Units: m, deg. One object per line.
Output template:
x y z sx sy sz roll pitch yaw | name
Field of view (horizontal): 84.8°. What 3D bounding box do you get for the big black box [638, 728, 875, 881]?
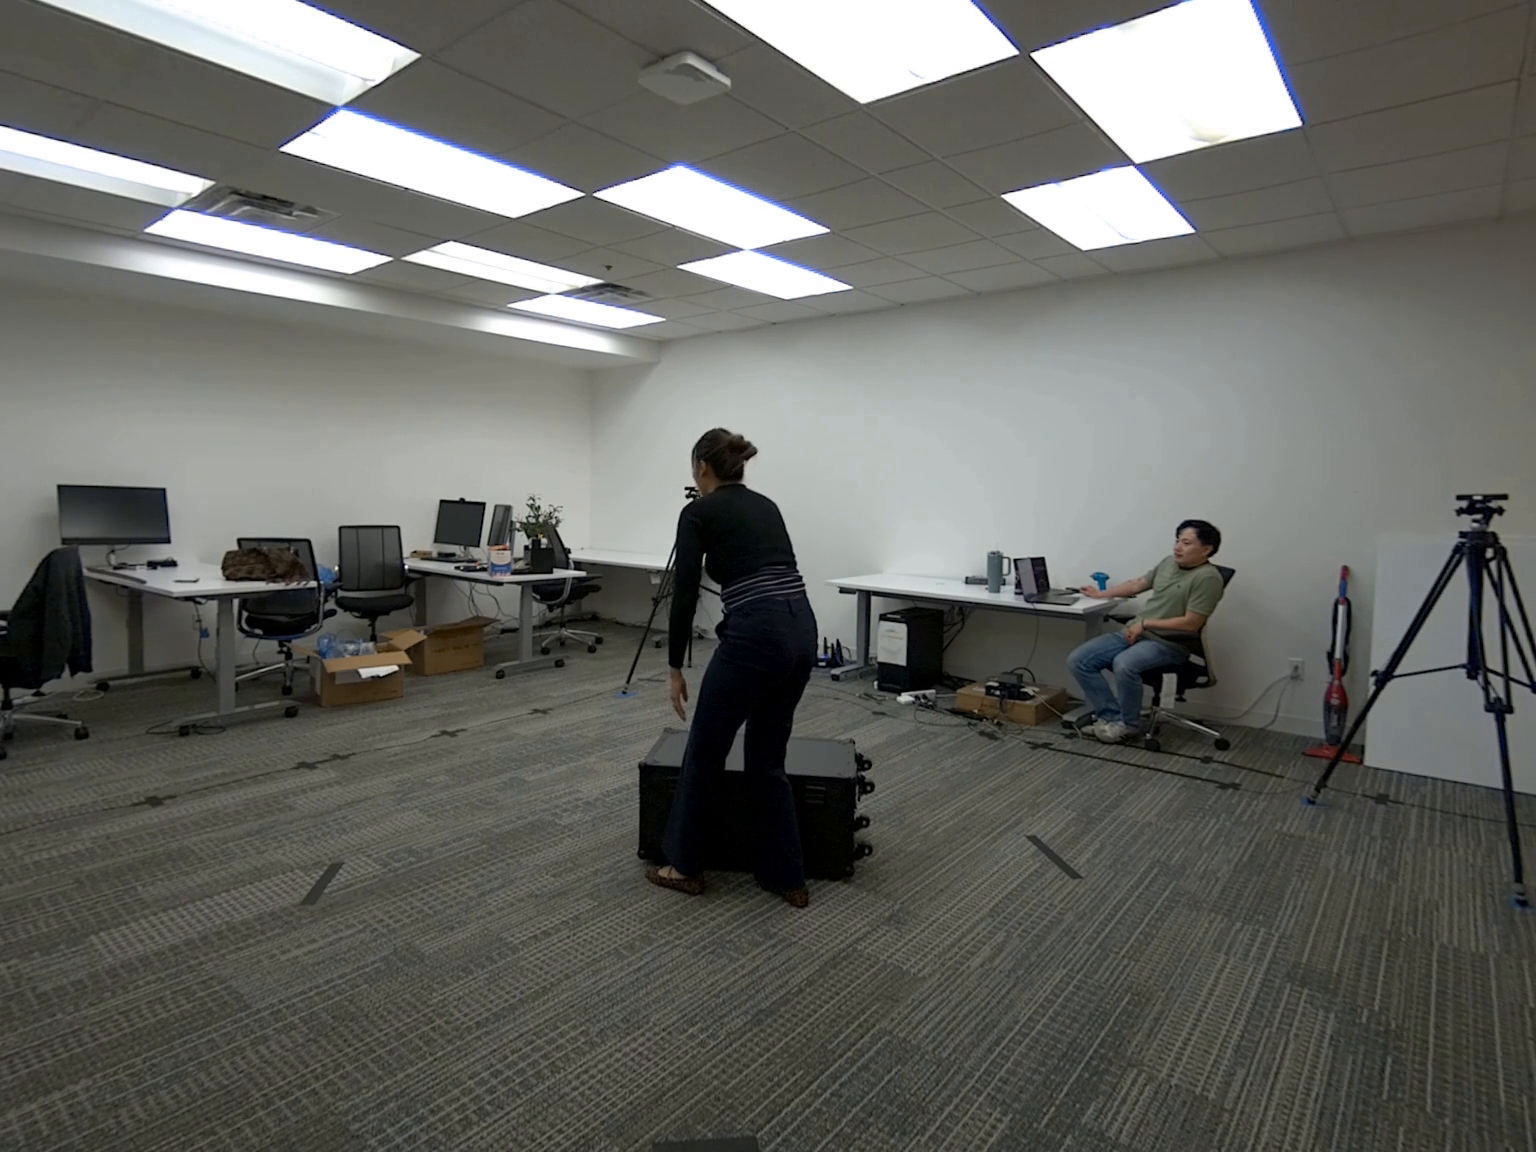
-0.041 0.851 3.280 0.869 0.395 0.518 1 4 7 | big black box
